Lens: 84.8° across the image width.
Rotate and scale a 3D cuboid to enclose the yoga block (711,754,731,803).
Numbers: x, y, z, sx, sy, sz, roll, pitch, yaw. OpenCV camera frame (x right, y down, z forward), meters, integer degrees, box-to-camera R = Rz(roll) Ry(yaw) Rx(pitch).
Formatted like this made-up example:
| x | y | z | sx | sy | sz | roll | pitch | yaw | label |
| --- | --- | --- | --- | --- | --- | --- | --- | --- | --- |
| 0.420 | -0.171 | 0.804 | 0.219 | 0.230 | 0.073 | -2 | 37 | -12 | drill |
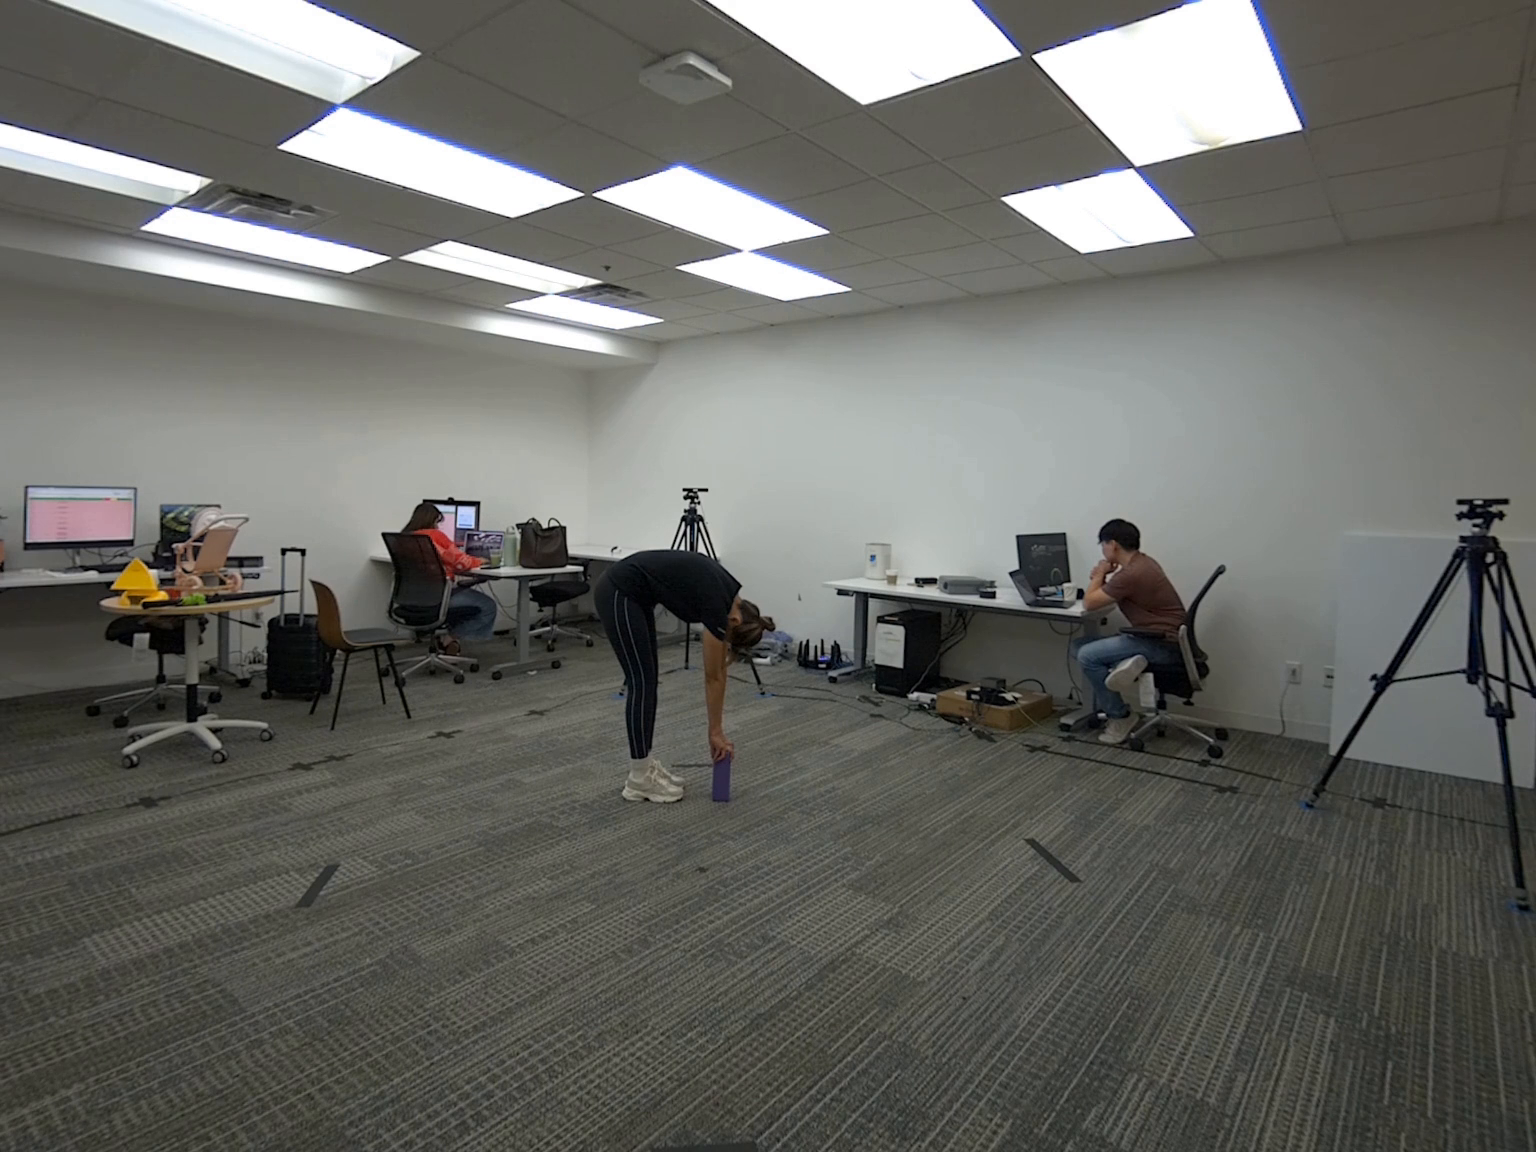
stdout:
| x | y | z | sx | sy | sz | roll | pitch | yaw | label |
| --- | --- | --- | --- | --- | --- | --- | --- | --- | --- |
| -0.219 | 0.890 | 3.858 | 0.076 | 0.228 | 0.150 | 0 | 4 | -3 | yoga block |
